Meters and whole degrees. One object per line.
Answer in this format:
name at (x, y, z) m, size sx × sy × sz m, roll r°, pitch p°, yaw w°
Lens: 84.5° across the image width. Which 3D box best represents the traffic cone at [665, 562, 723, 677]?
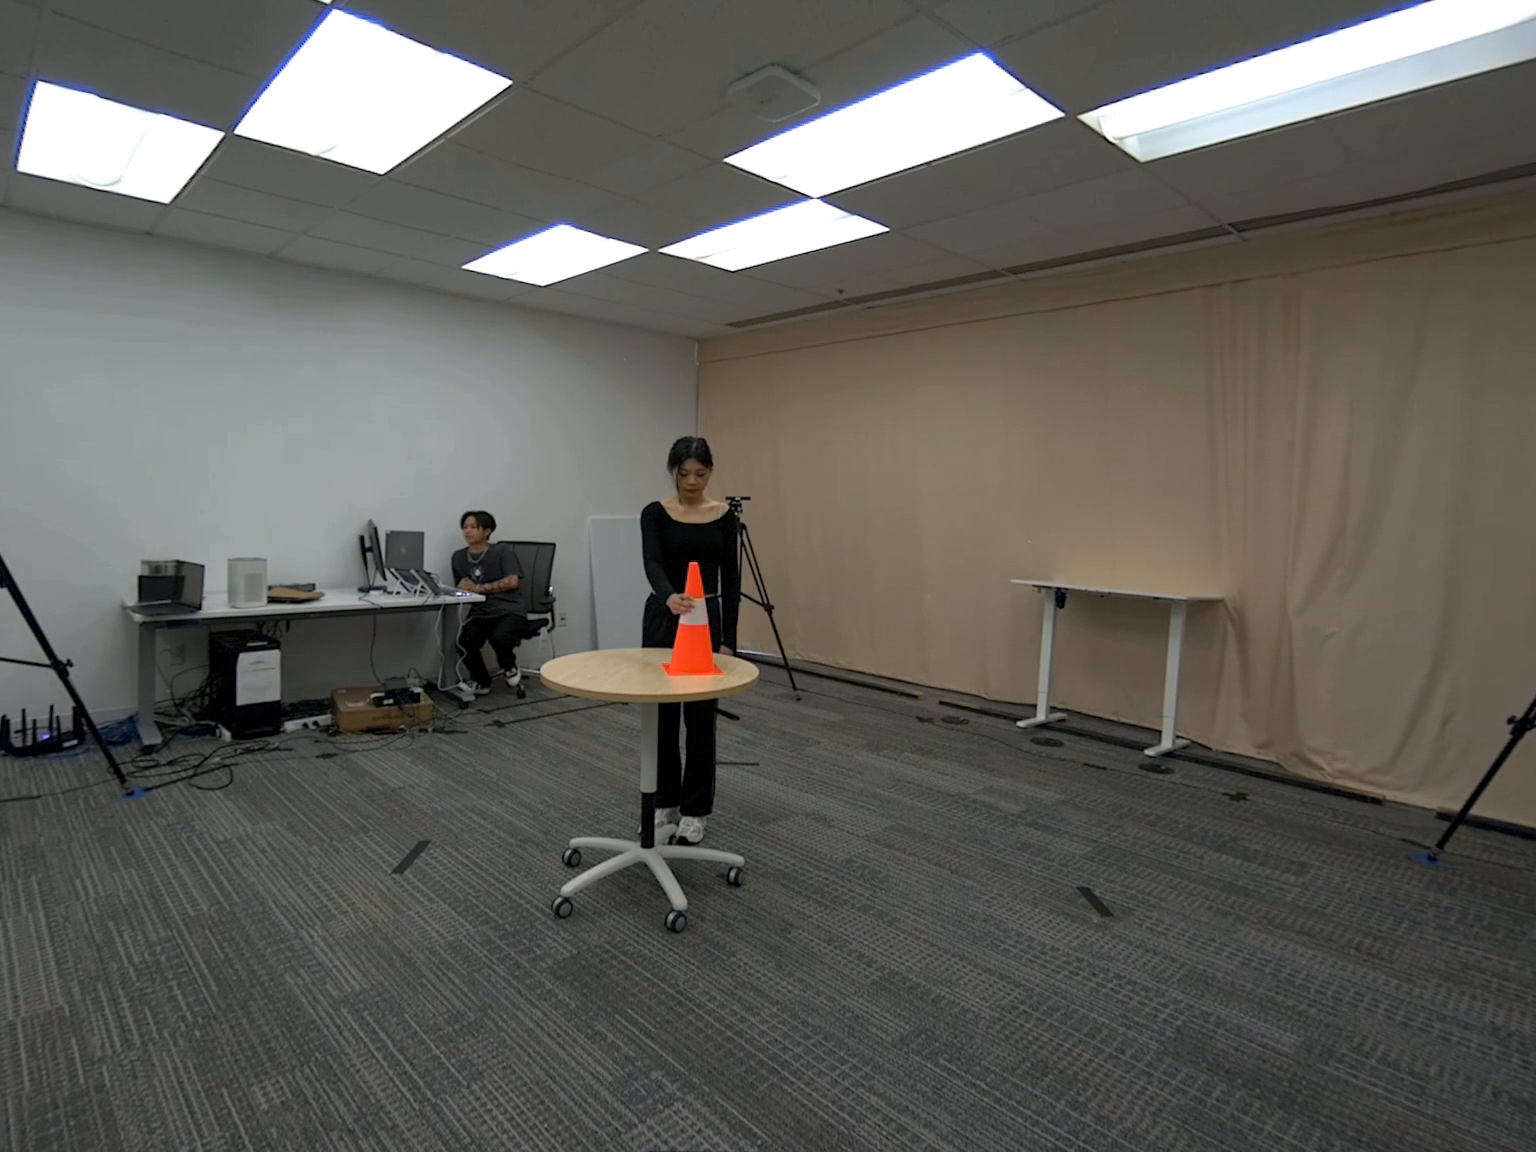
traffic cone at (-0.282, 0.144, 2.965) m, size 0.203 × 0.382 × 0.206 m, roll 0°, pitch 5°, yaw -14°
